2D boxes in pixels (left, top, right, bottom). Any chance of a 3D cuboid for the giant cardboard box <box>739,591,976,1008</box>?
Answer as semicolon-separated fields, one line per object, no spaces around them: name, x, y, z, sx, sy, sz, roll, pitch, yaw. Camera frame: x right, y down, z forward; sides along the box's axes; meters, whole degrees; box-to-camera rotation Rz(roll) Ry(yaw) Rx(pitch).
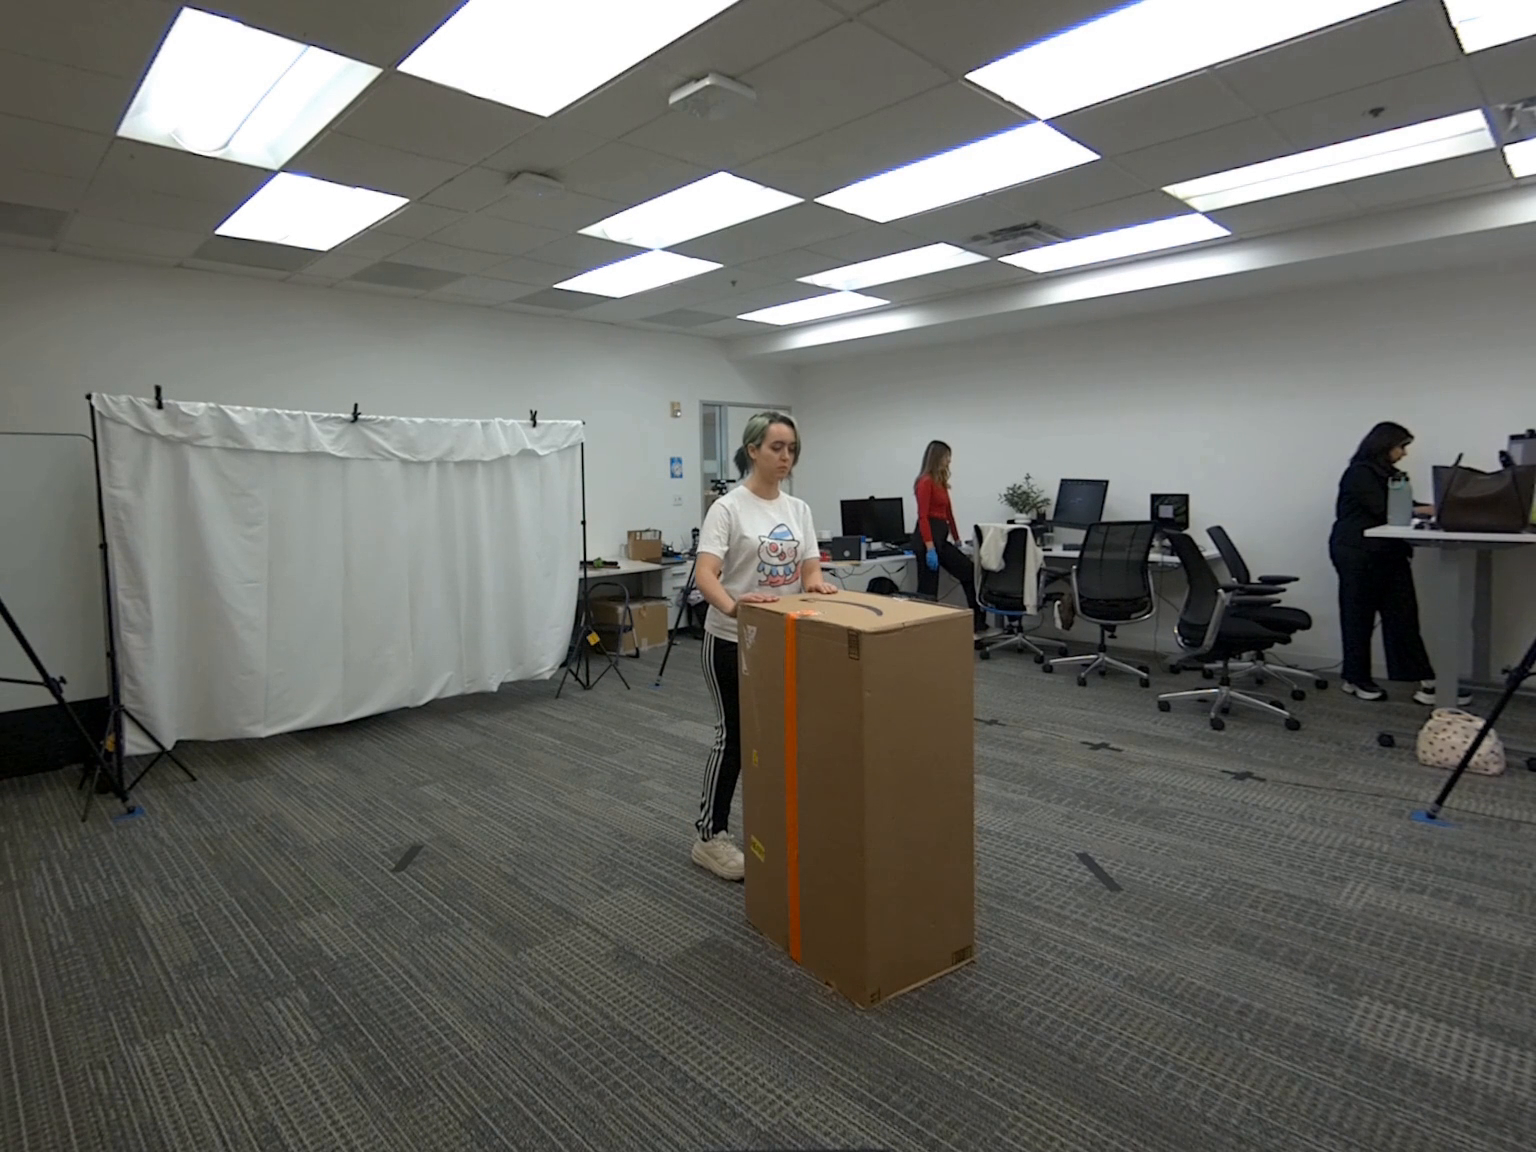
giant cardboard box;0.257;0.599;2.544;0.436;1.023;0.601;-4;6;-35
